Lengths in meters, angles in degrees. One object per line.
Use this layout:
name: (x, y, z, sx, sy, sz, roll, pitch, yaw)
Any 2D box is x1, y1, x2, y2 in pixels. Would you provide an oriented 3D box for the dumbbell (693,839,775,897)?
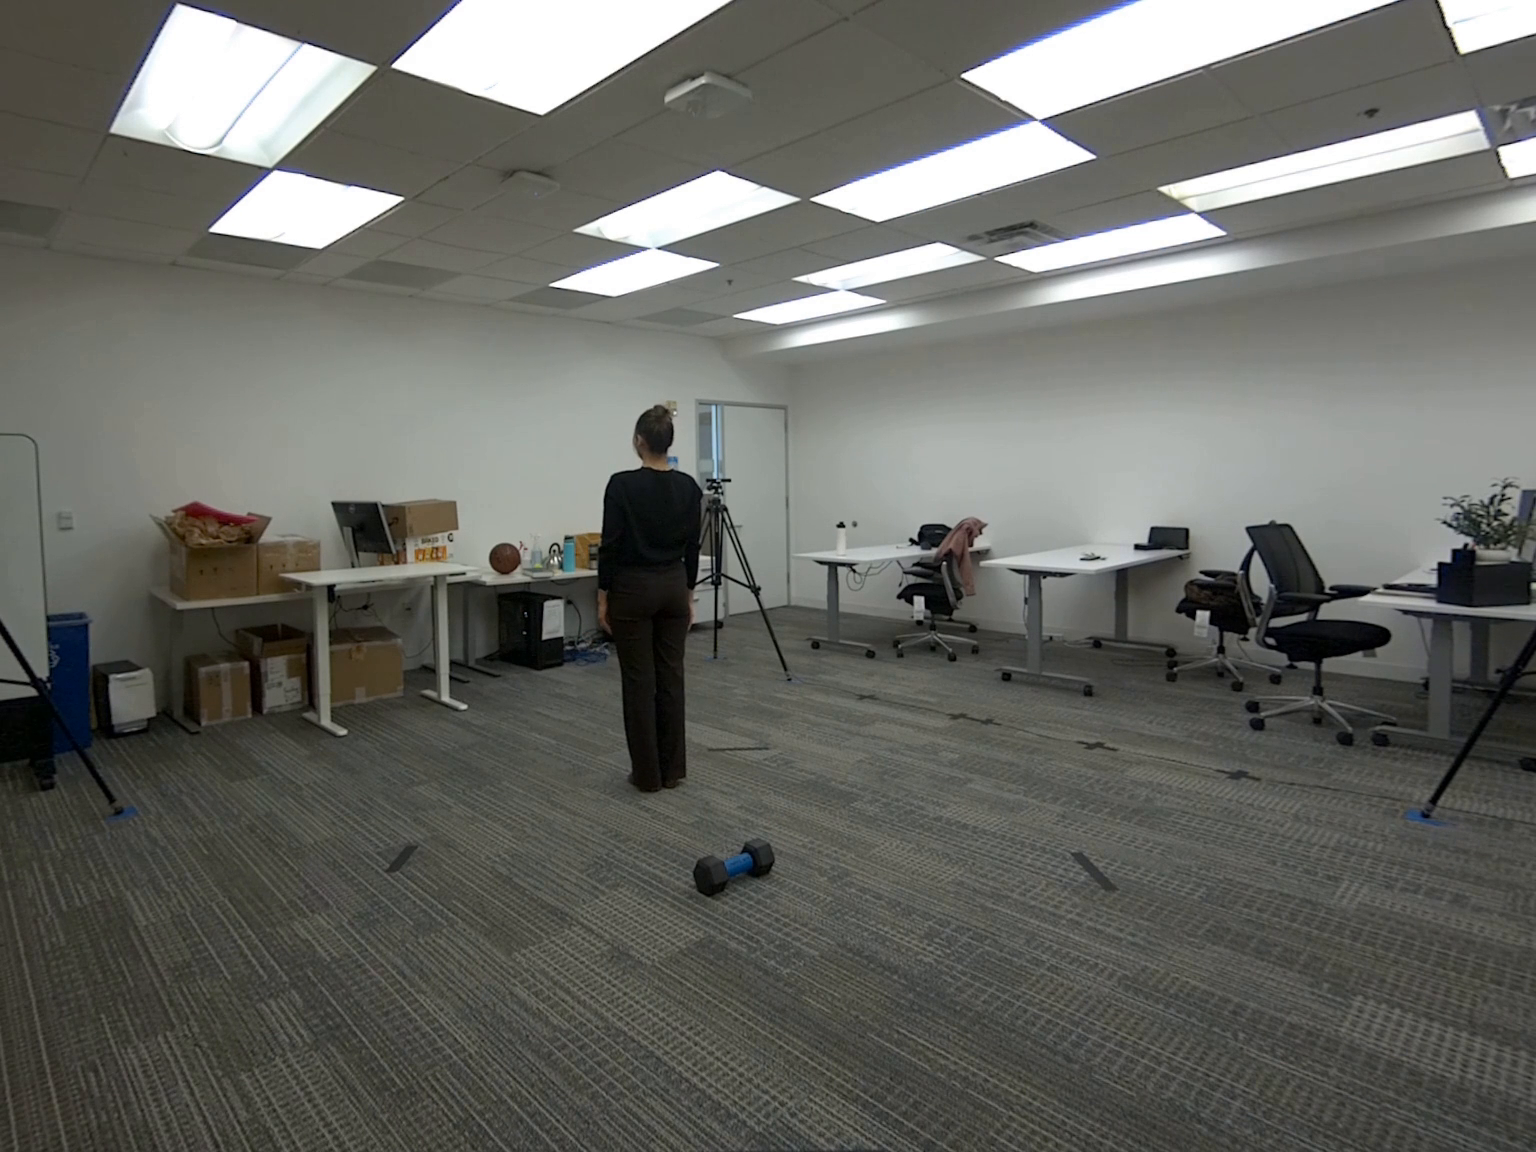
dumbbell: (-0.113, 1.007, 2.966, 0.286, 0.108, 0.127, -5, 7, -41)
